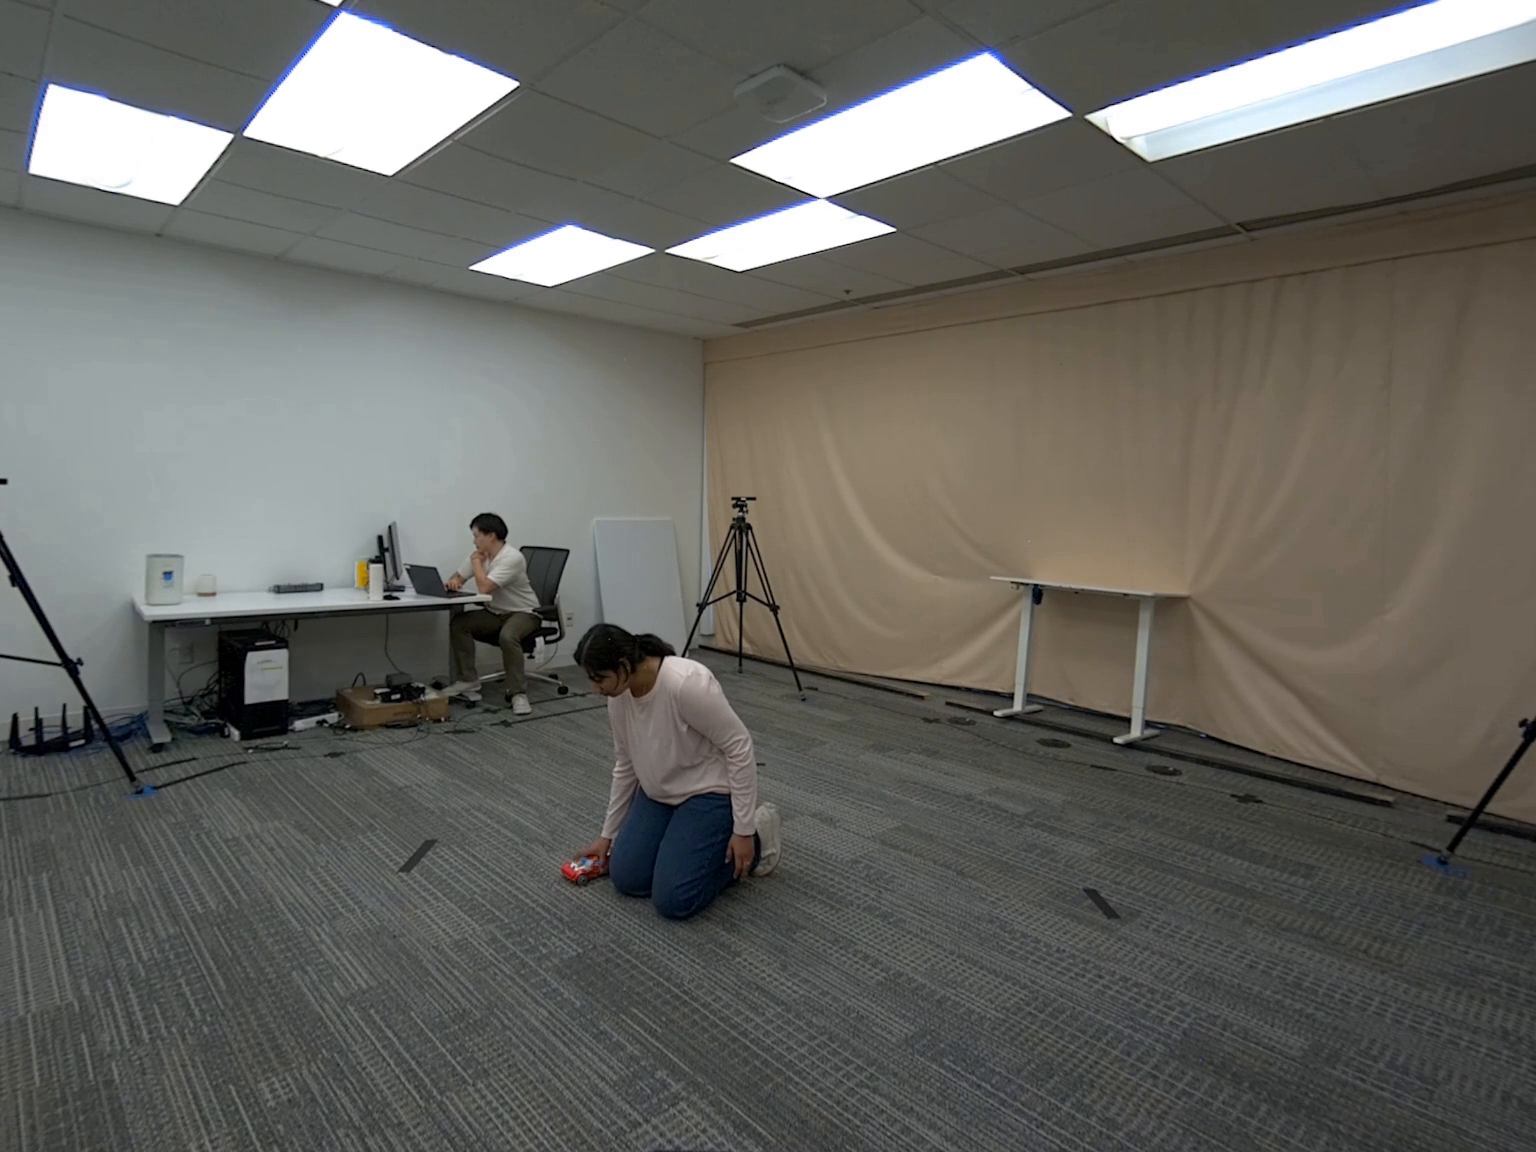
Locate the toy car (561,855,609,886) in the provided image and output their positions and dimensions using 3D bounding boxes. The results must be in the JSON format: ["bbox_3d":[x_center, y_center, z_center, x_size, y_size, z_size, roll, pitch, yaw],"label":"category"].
[{"bbox_3d":[-0.636,1.060,3.097,0.250,0.082,0.133,-18,16,-41],"label":"toy car"}]
